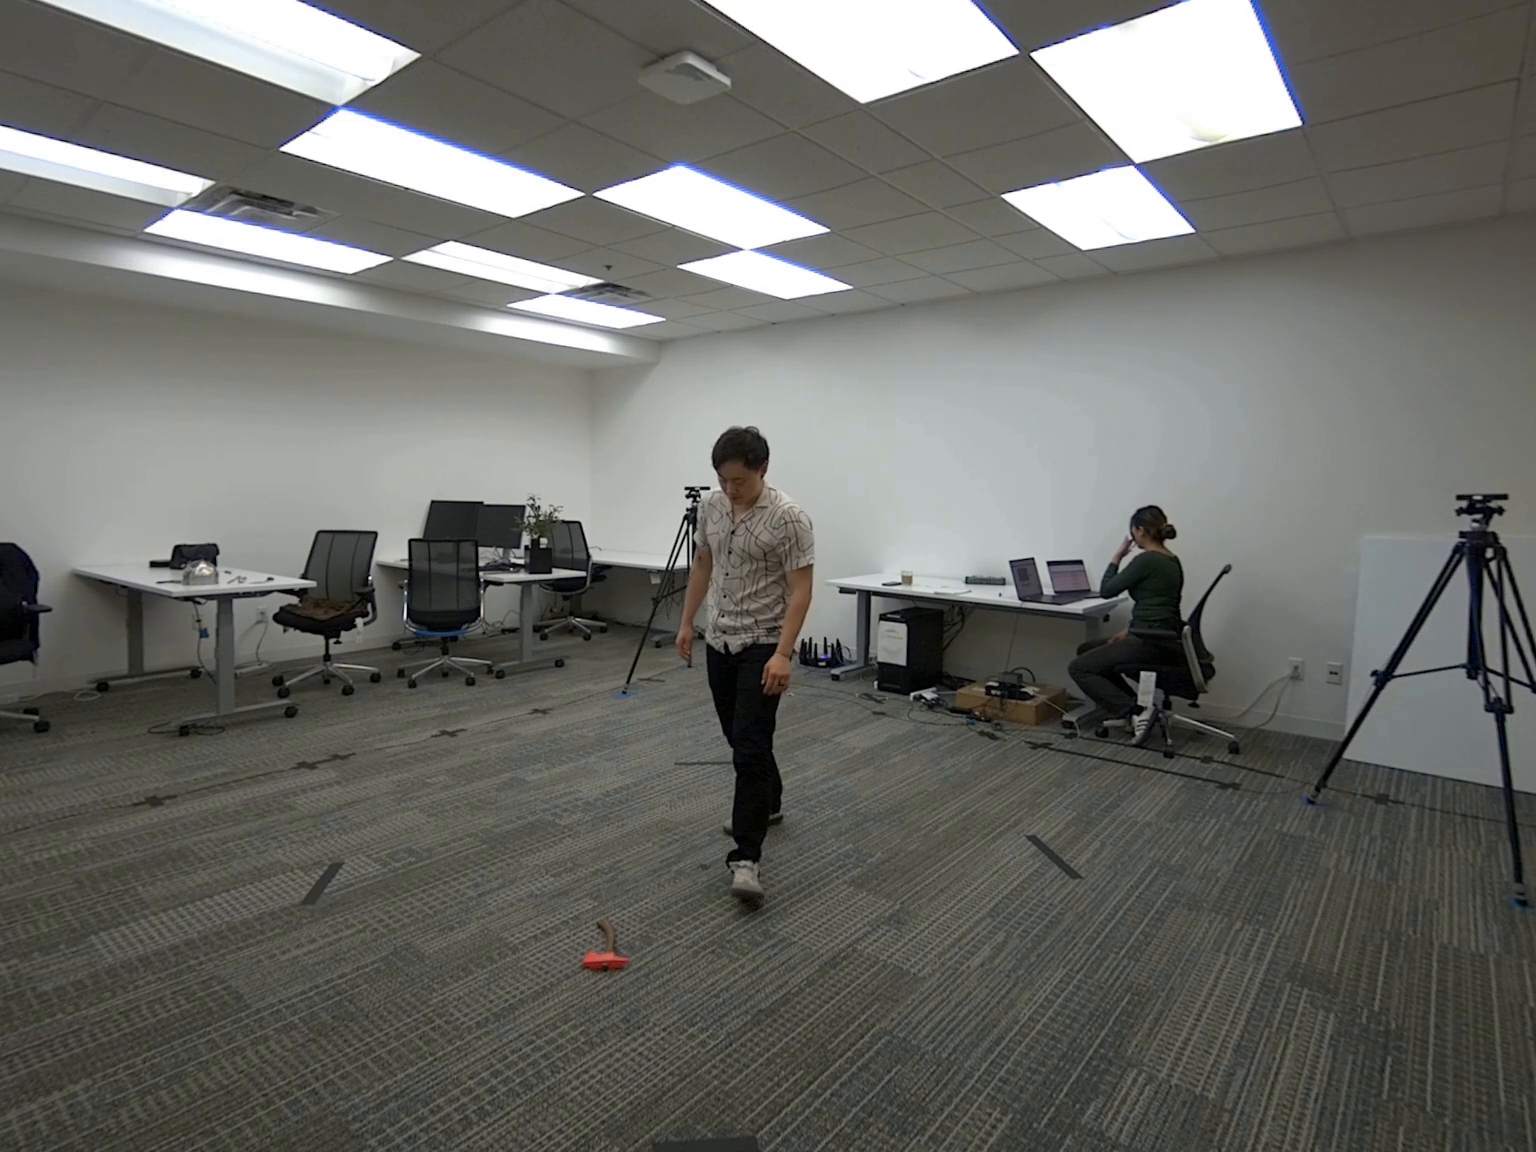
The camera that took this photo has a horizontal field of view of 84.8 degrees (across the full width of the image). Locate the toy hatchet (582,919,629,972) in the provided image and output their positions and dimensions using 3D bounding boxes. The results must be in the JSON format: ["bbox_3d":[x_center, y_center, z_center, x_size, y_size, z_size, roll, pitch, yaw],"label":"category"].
[{"bbox_3d":[-0.520,1.105,2.556,0.128,0.029,0.277,-6,6,-22],"label":"toy hatchet"}]
